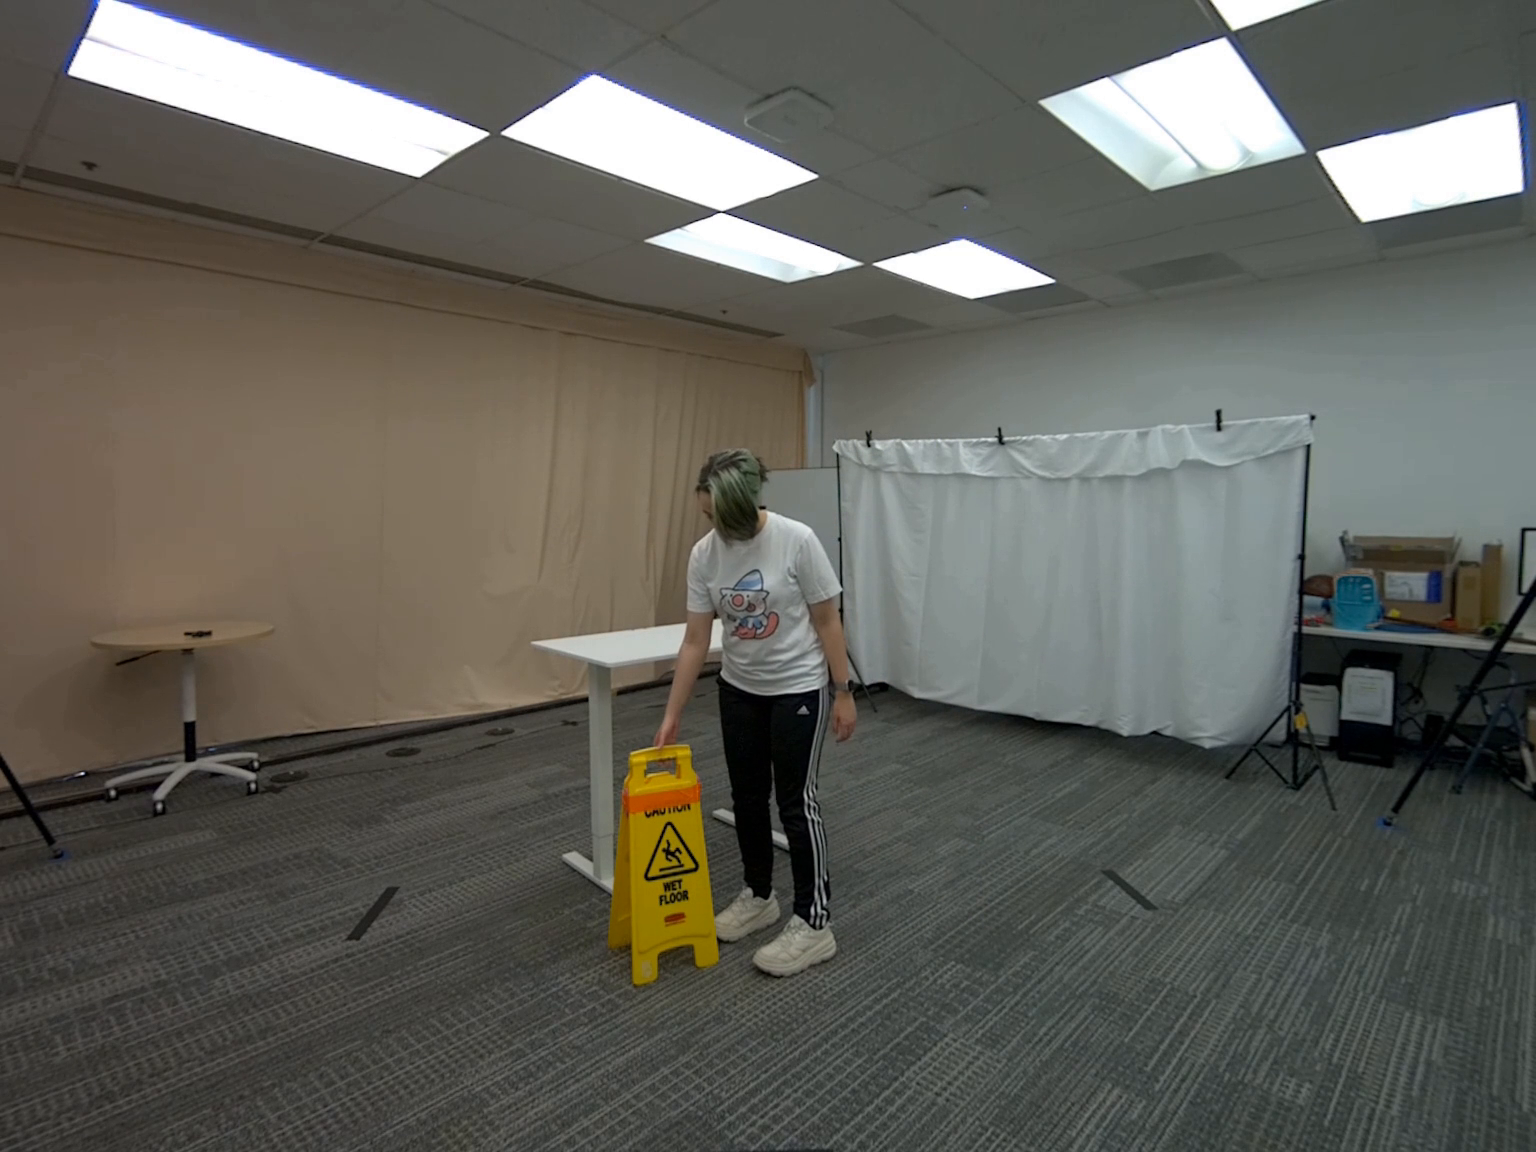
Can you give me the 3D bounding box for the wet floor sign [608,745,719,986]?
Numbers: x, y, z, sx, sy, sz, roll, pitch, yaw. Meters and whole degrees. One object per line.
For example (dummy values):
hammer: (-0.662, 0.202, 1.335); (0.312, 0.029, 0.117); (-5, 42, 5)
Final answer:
wet floor sign: (-0.330, 0.858, 2.592); (0.275, 0.645, 0.297); (-2, 4, -27)
